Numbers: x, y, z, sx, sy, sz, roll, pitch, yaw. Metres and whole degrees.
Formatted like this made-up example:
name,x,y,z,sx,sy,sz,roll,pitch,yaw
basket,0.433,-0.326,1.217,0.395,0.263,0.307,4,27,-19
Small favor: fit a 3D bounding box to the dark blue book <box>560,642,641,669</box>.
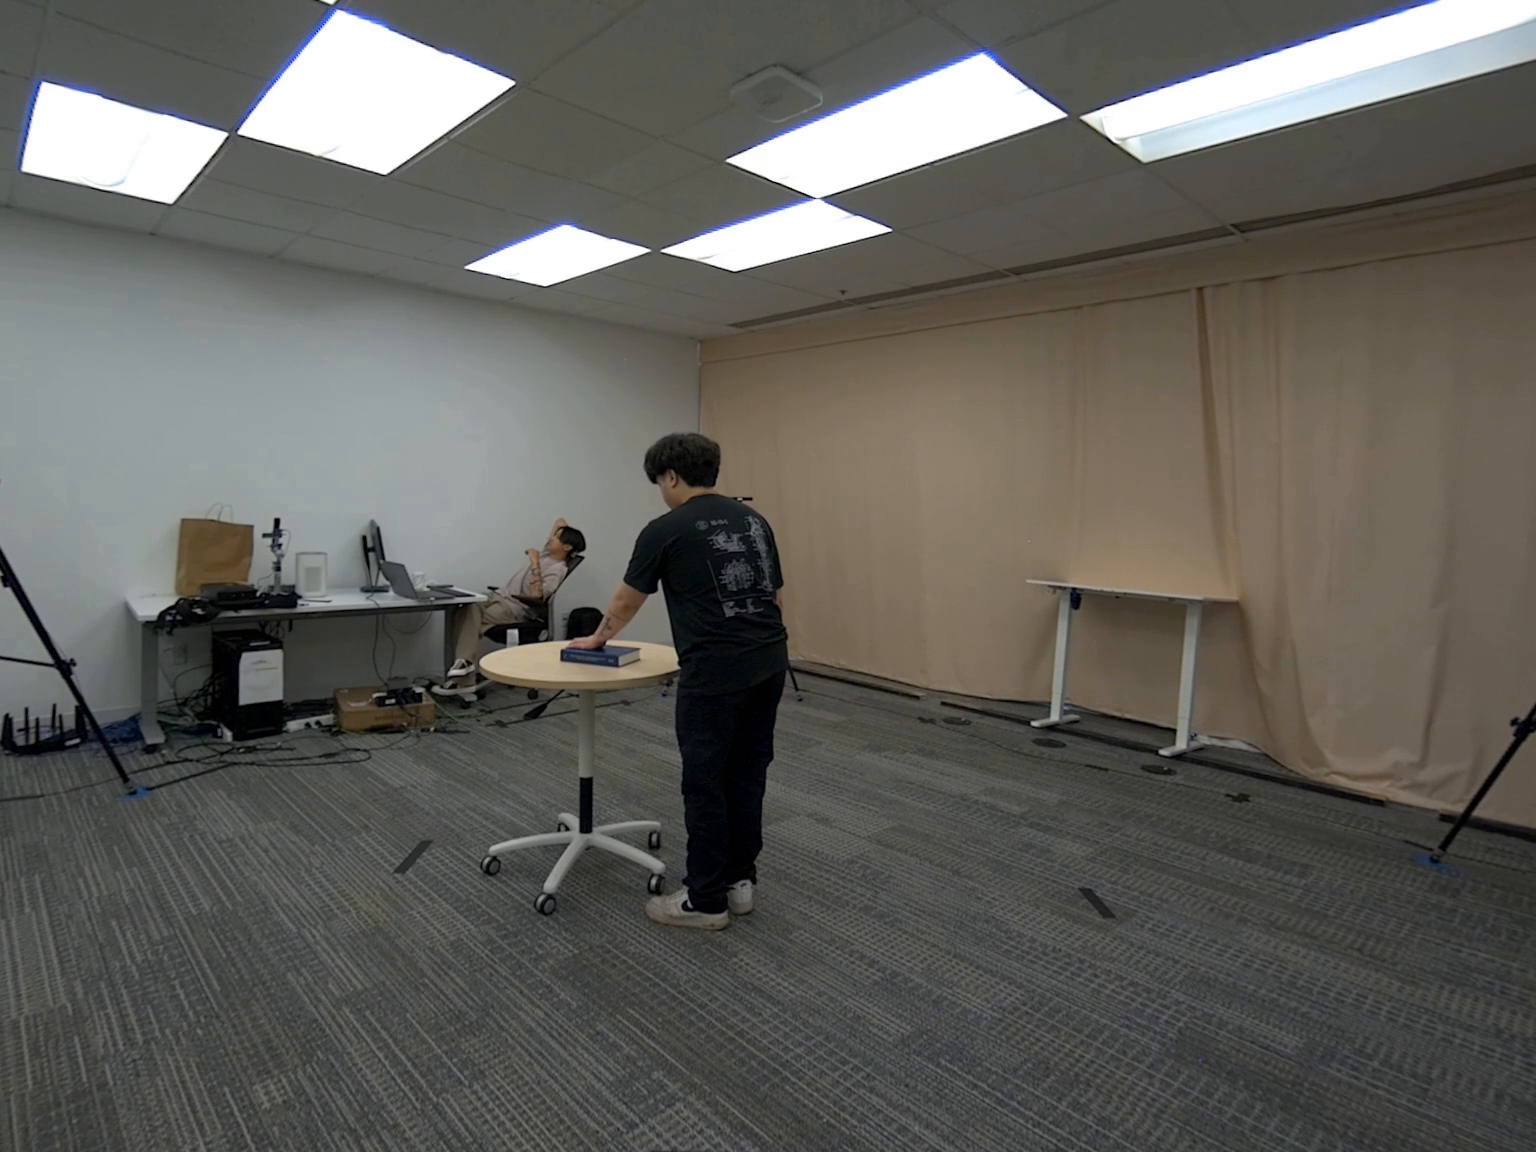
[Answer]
name,x,y,z,sx,sy,sz,roll,pitch,yaw
dark blue book,-0.618,0.288,3.064,0.249,0.045,0.161,3,6,22
